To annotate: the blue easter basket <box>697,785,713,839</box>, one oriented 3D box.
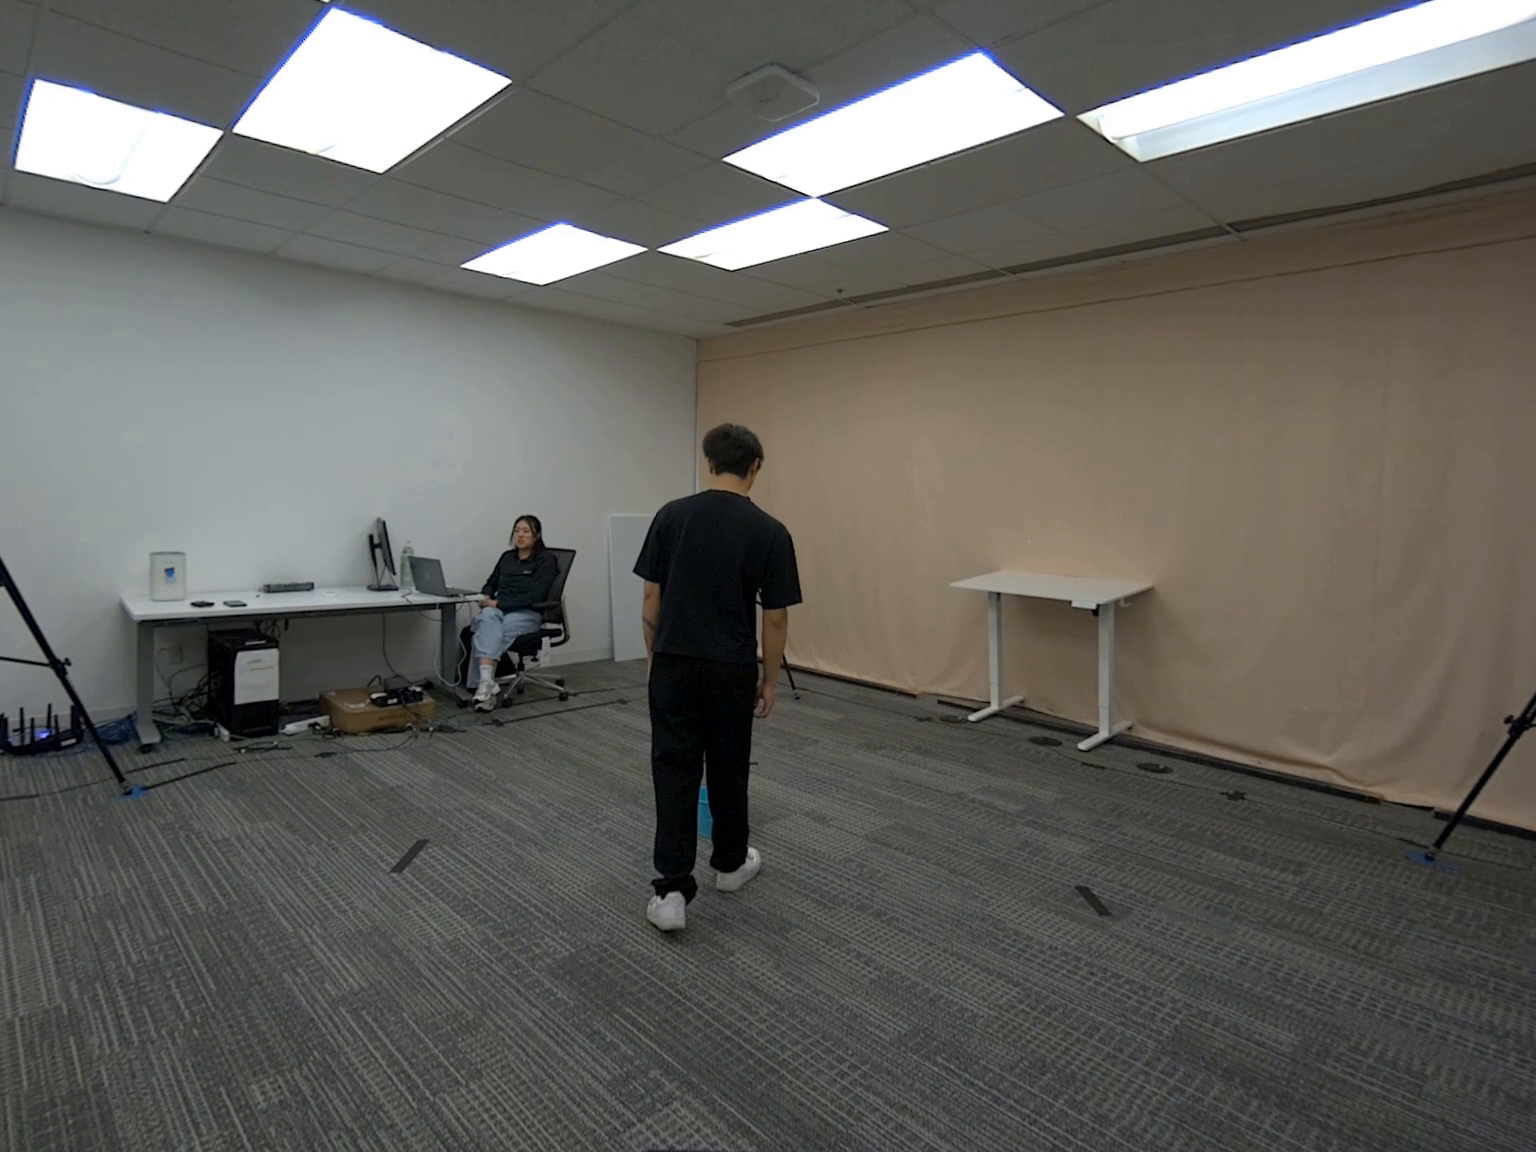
[{"bbox_3d":[-0.216,0.989,3.534,0.243,0.155,0.244,1,4,-1],"label":"blue easter basket"}]
